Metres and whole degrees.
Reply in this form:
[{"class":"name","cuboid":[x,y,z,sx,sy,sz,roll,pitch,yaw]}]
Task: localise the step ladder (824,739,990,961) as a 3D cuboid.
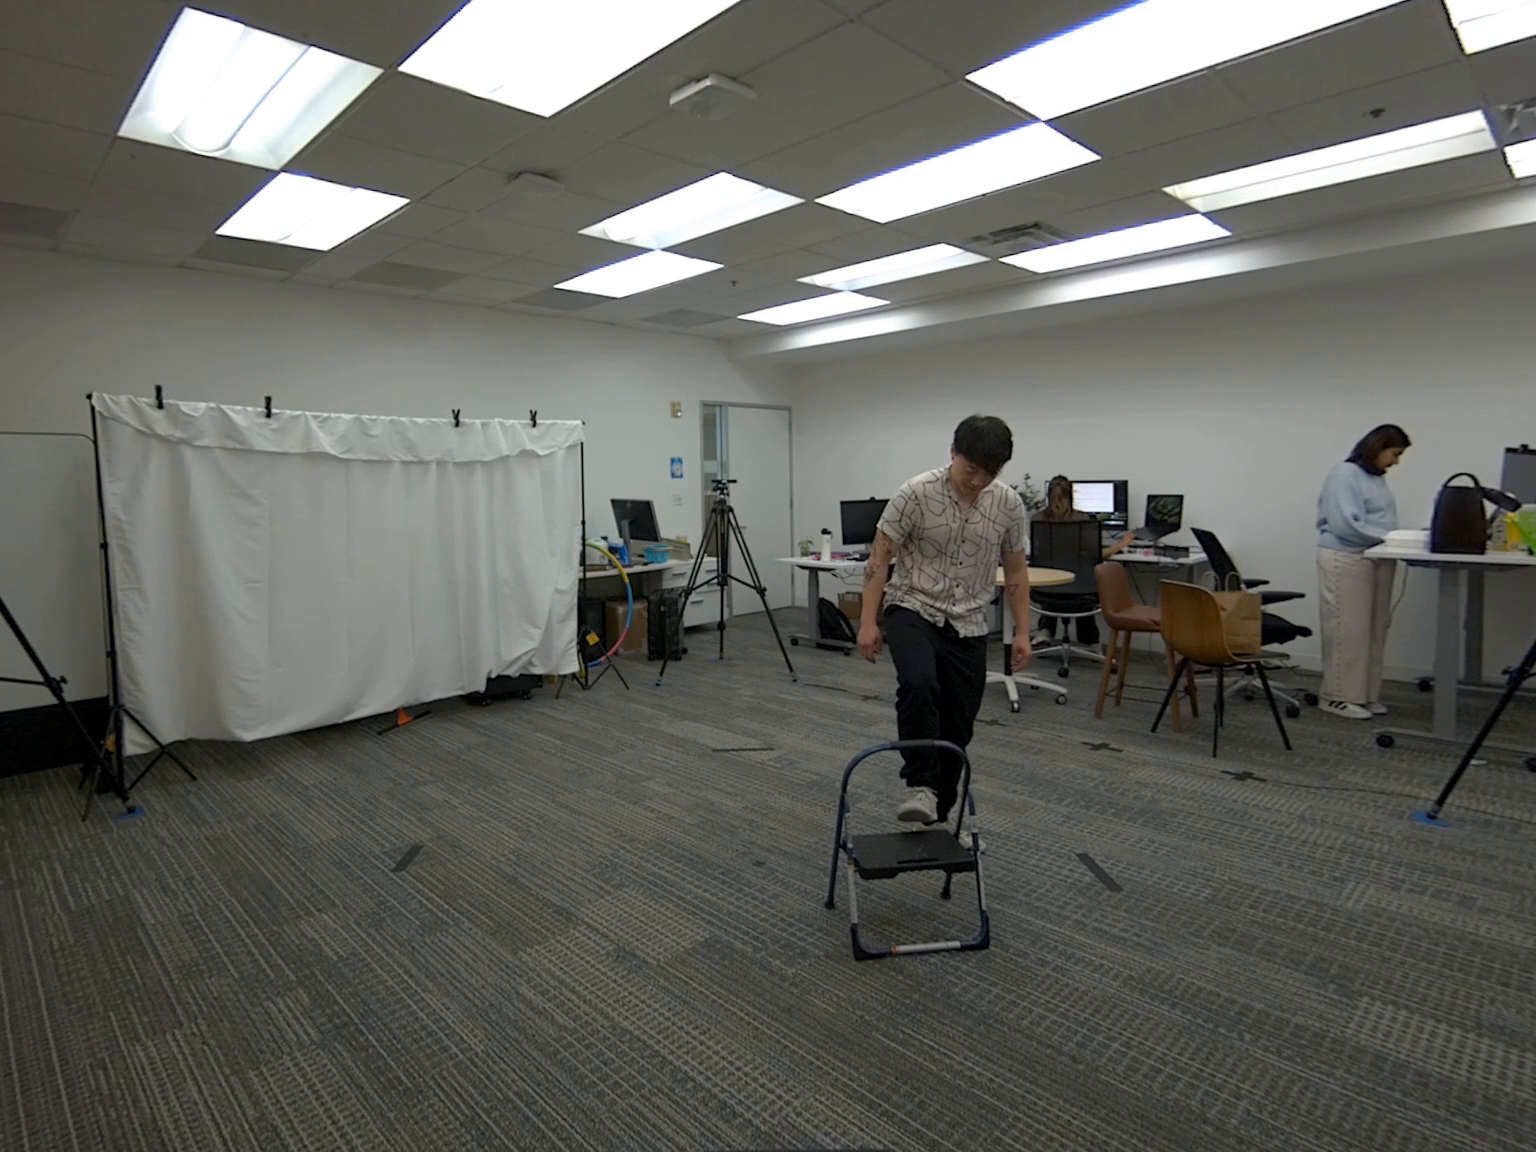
[{"class":"step ladder","cuboid":[0.422,0.793,2.633,0.427,0.603,0.354,-2,5,-9]}]
